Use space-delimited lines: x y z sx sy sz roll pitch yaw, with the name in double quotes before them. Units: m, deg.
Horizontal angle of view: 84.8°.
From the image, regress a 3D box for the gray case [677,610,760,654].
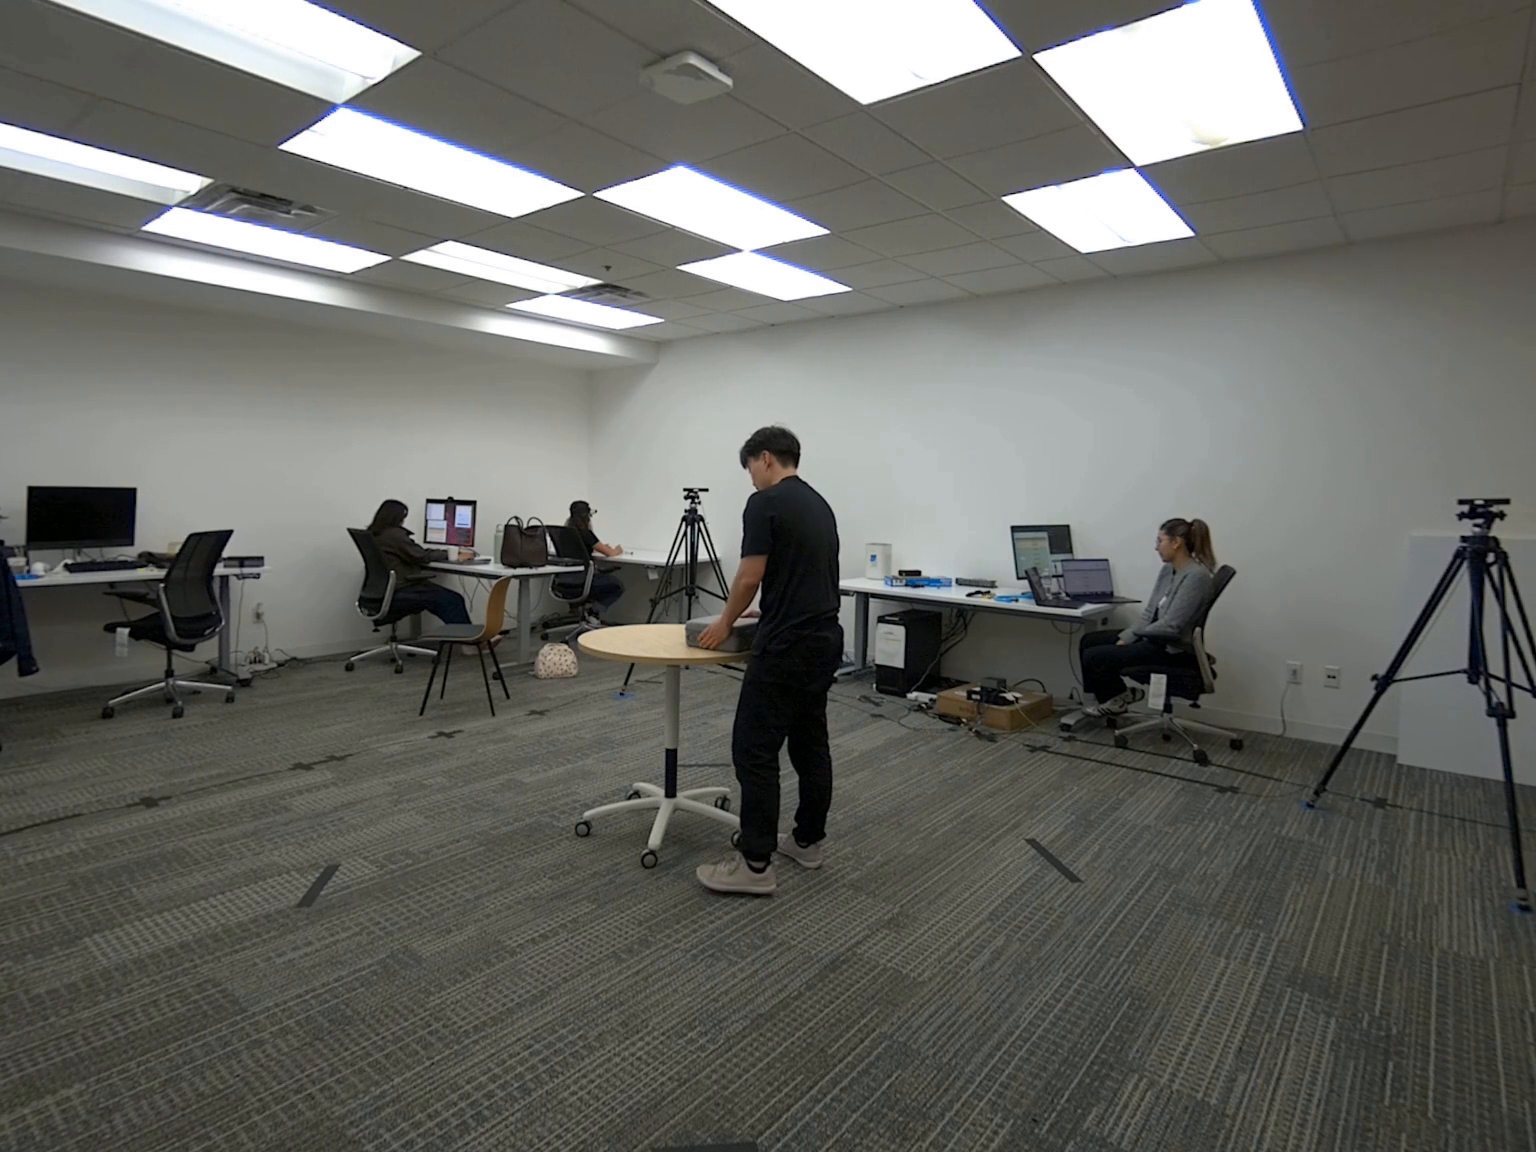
"gray case" -0.178 0.216 3.317 0.268 0.104 0.250 4 7 31
